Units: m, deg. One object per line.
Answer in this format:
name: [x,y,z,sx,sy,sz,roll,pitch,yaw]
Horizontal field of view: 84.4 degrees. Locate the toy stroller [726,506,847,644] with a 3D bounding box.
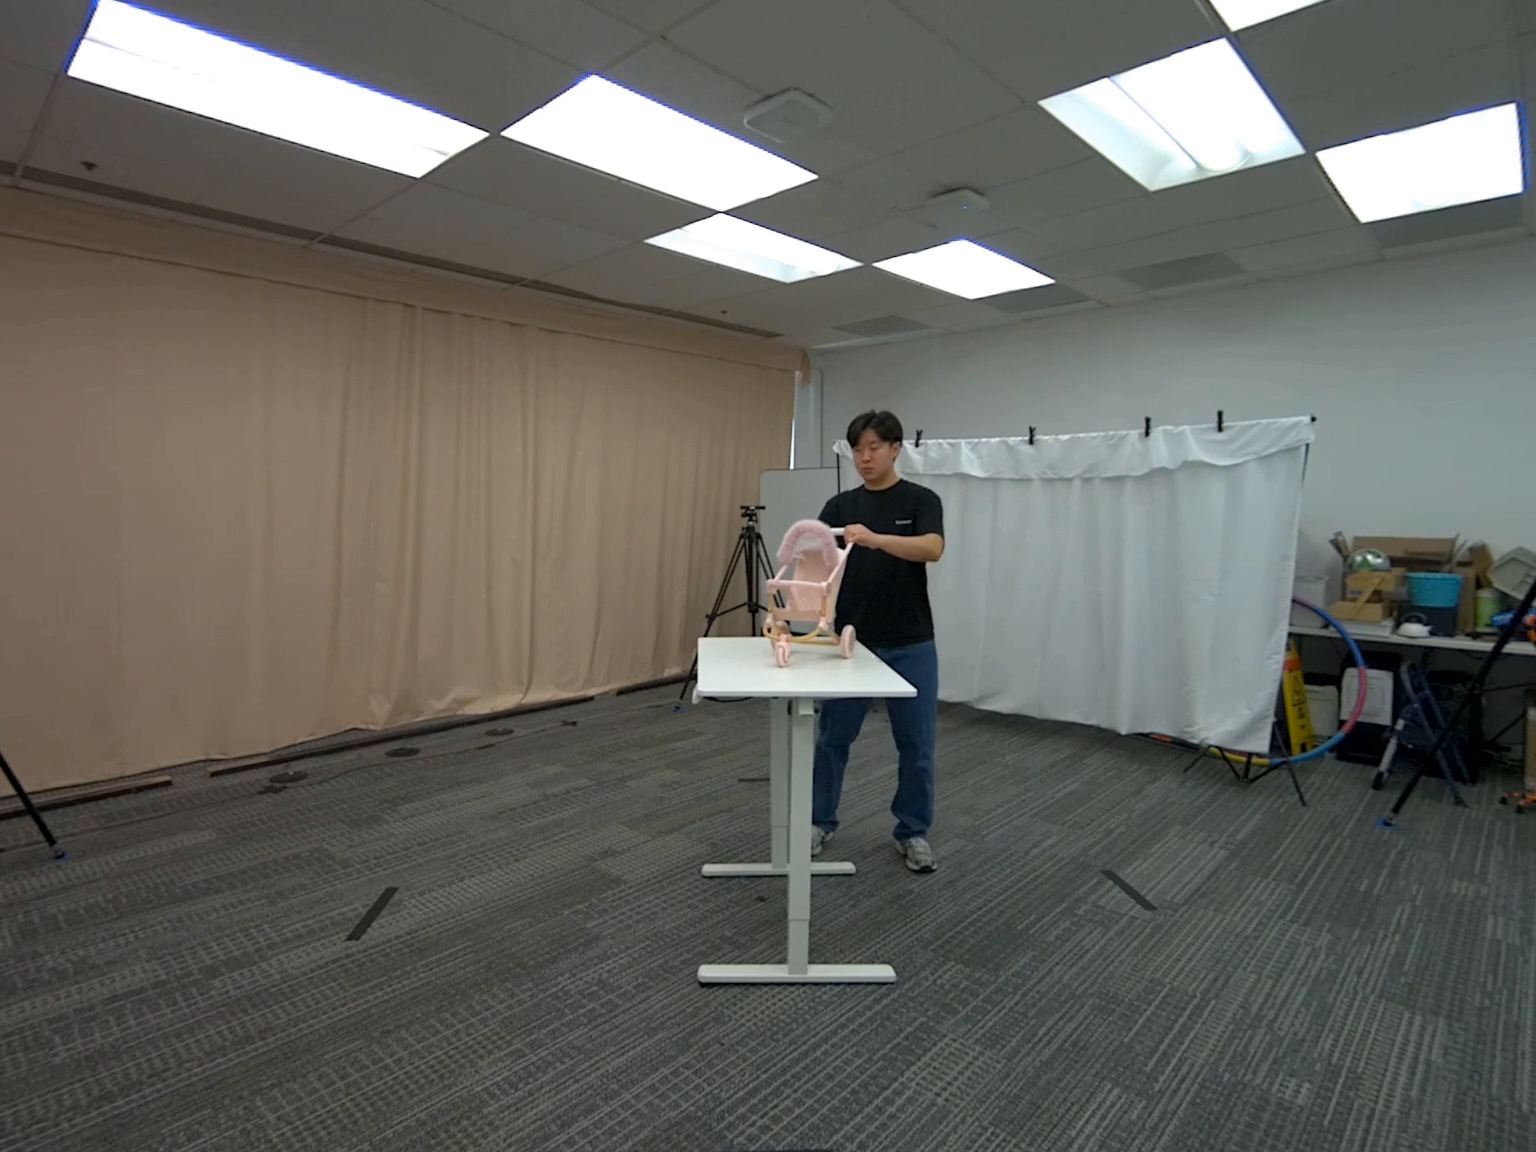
toy stroller: [0.132,0.054,2.804,0.290,0.537,0.330,1,-12,31]
